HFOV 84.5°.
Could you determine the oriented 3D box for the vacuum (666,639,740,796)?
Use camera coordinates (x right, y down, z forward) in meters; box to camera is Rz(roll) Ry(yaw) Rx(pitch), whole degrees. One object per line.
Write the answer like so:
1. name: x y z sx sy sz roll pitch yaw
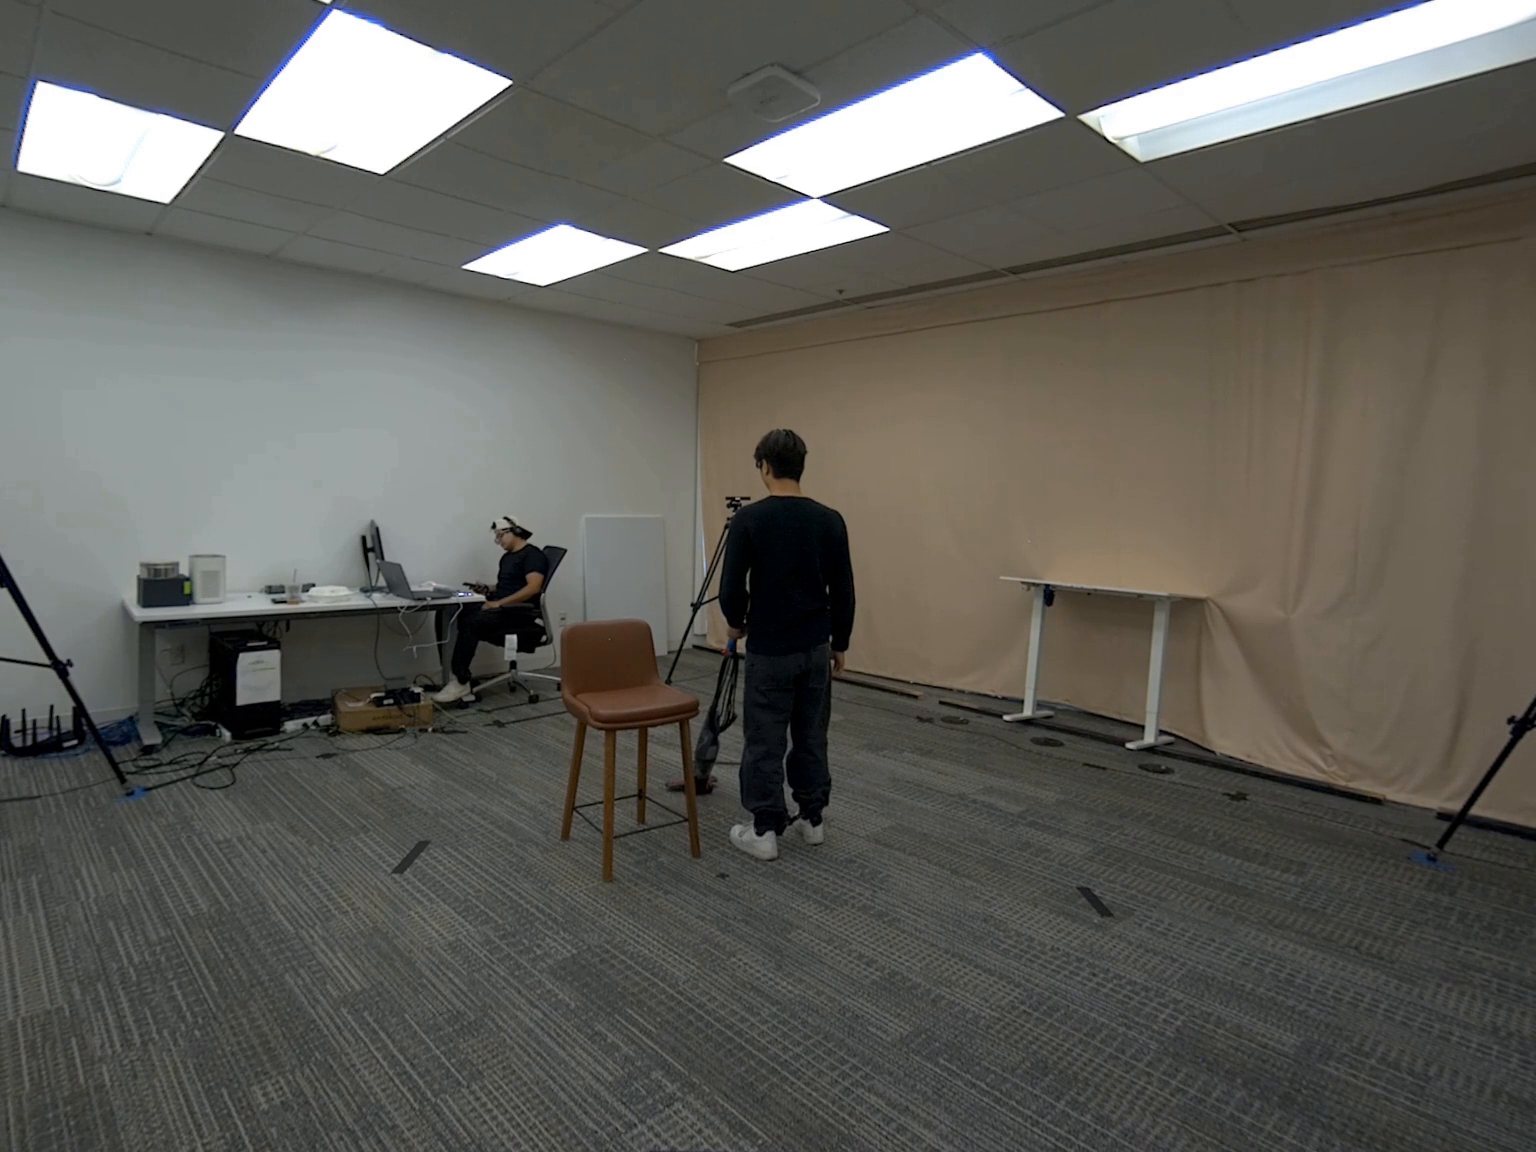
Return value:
1. vacuum: -0.236 0.606 3.730 0.248 1.035 0.148 -2 39 -27
